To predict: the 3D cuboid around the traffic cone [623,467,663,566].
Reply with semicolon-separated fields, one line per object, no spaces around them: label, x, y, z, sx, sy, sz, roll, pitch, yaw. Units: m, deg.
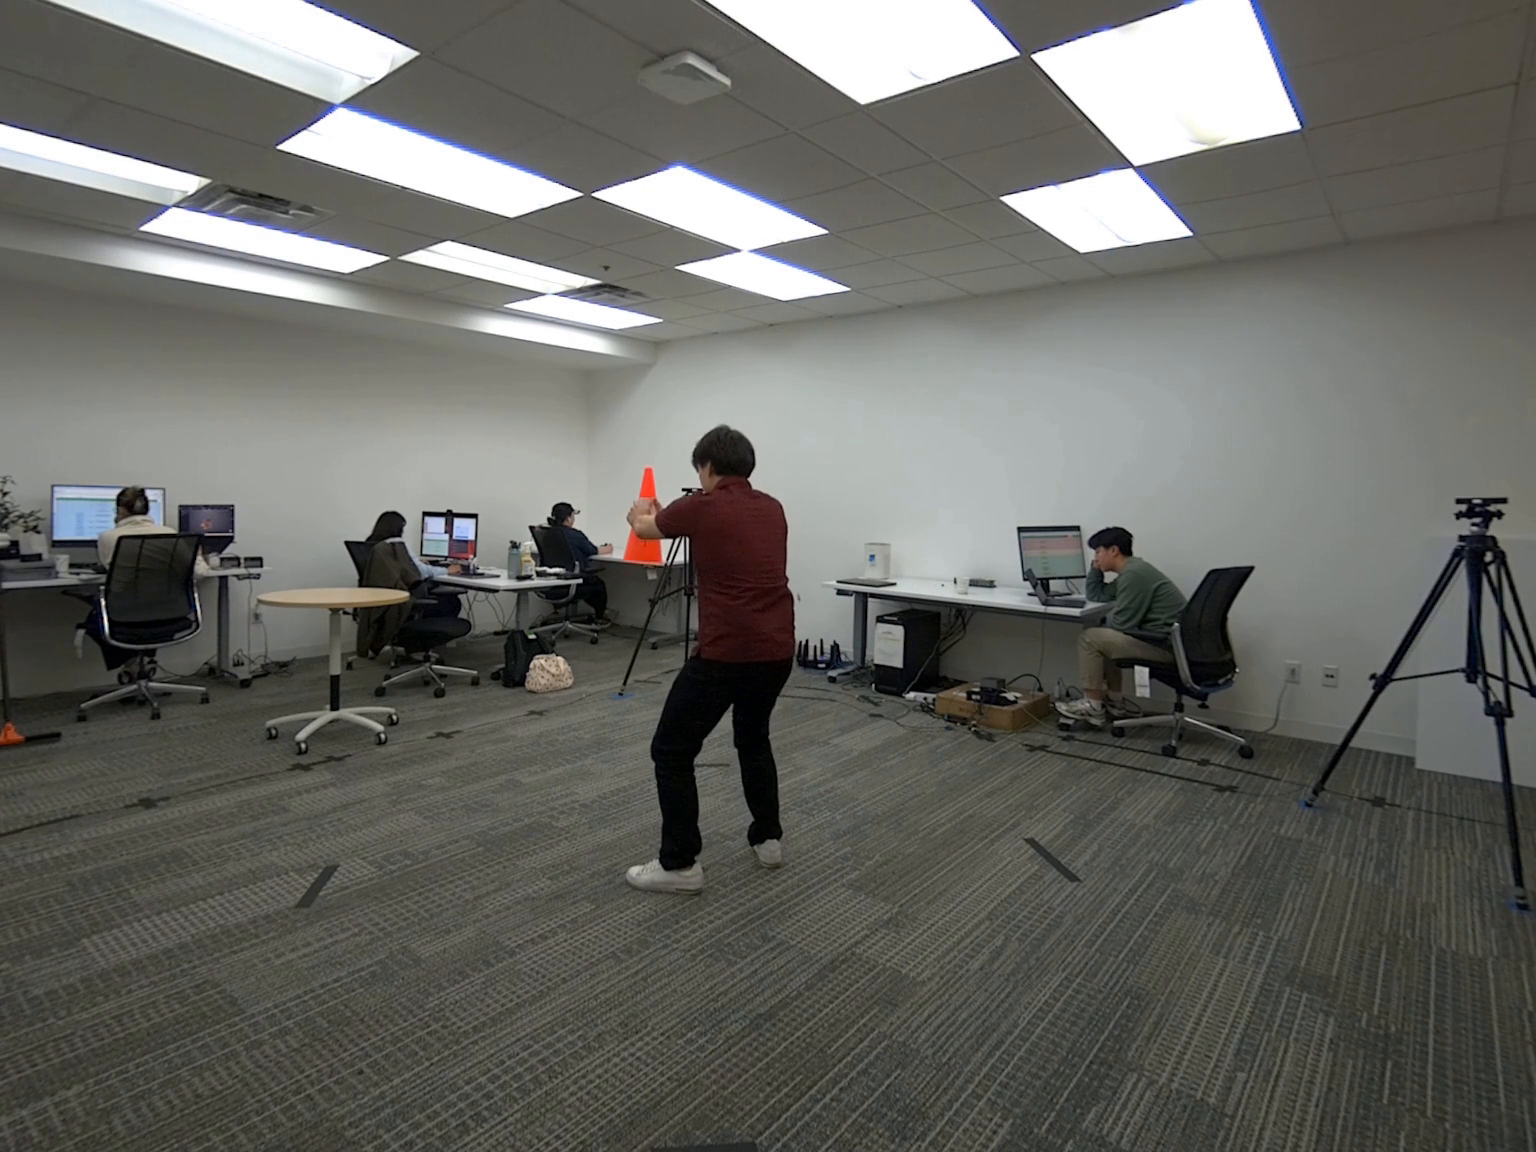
traffic cone;-0.516;-0.240;3.466;0.201;0.383;0.208;2;1;-21
